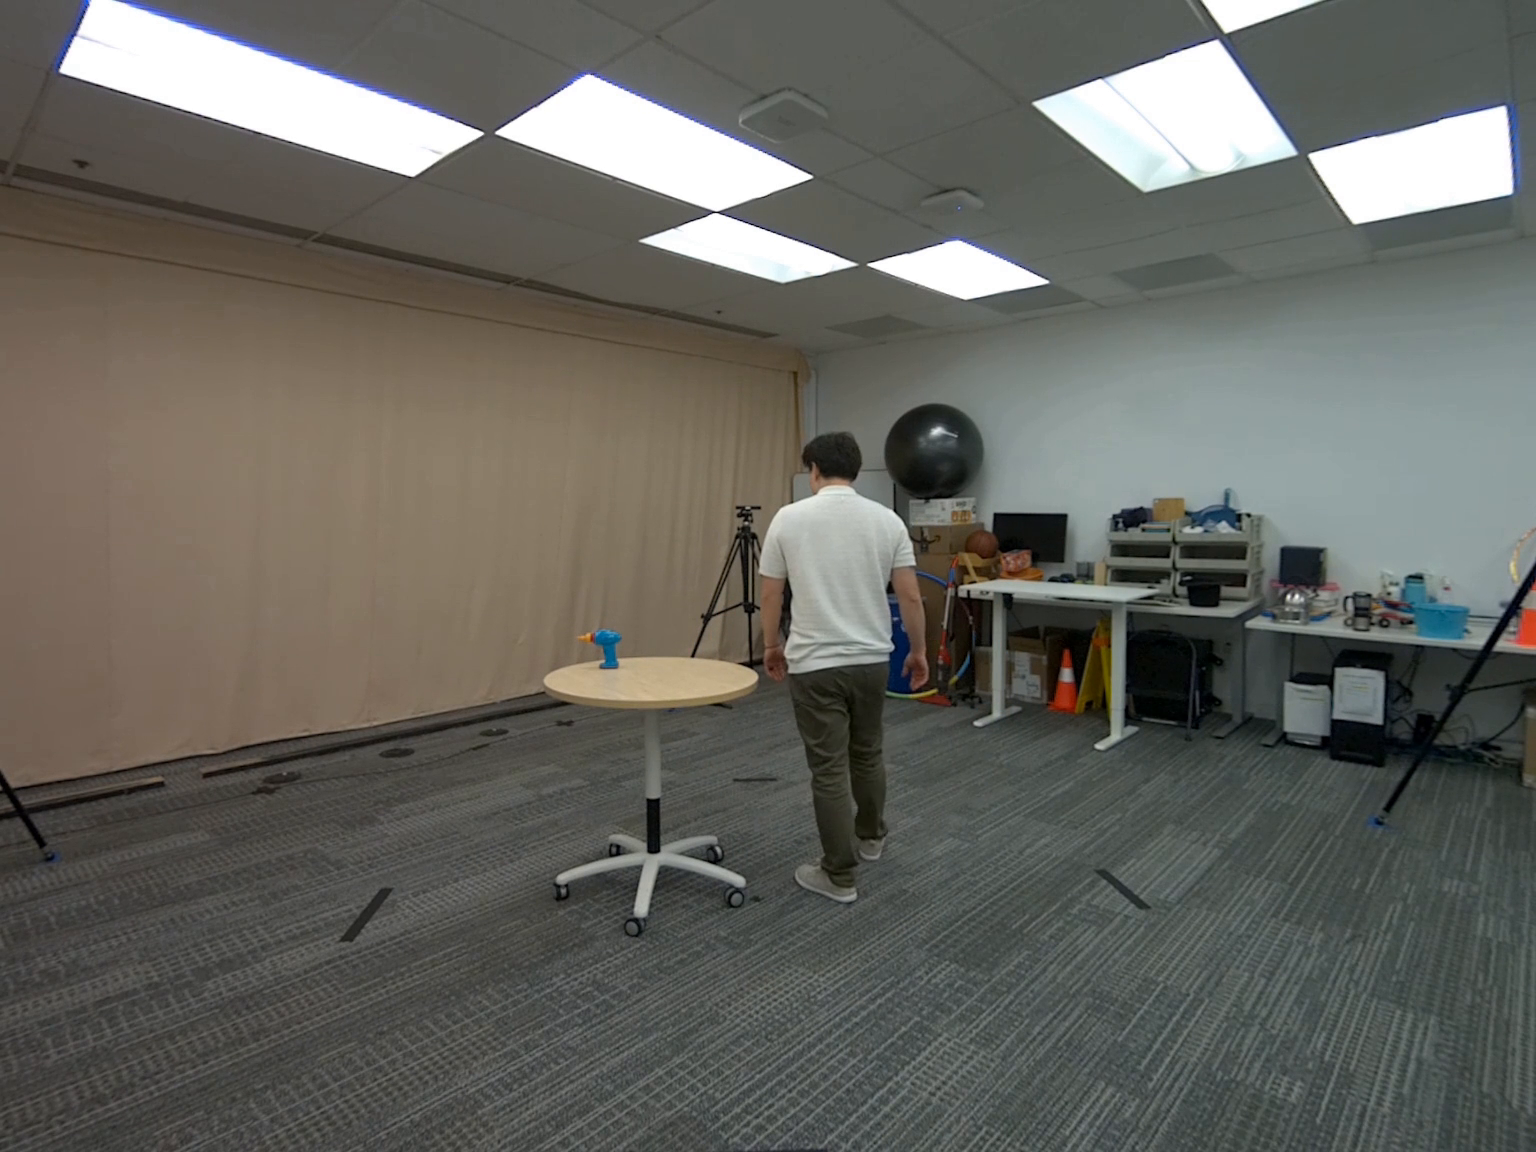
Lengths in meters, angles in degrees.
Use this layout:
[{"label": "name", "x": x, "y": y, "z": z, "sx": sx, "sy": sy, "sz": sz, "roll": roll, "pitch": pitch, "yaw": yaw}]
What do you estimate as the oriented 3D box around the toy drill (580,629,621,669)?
[{"label": "toy drill", "x": -0.634, "y": 0.276, "z": 3.182, "sx": 0.170, "sy": 0.145, "sz": 0.061, "roll": 0, "pitch": 4, "yaw": 0}]
